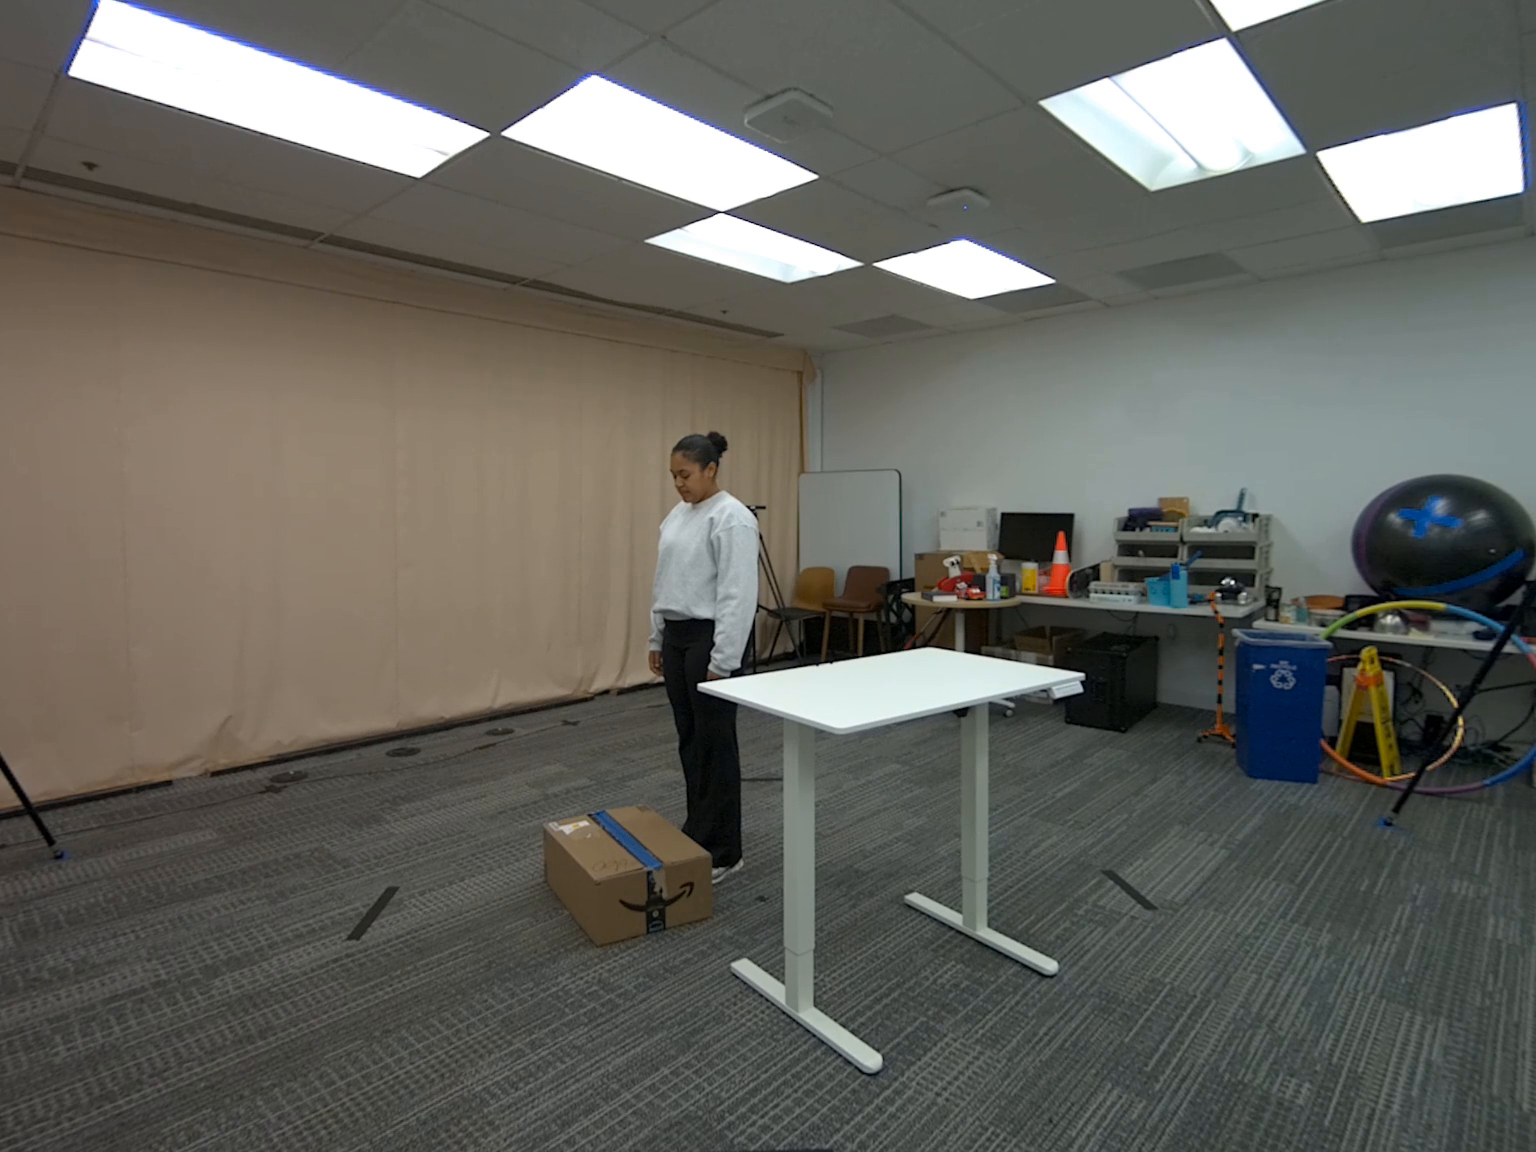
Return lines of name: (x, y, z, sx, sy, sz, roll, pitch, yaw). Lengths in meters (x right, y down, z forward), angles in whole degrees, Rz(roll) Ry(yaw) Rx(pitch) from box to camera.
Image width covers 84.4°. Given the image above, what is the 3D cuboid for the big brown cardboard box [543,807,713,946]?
big brown cardboard box: (-0.513, 1.035, 2.994, 0.406, 0.232, 0.606, -3, 6, -31)
